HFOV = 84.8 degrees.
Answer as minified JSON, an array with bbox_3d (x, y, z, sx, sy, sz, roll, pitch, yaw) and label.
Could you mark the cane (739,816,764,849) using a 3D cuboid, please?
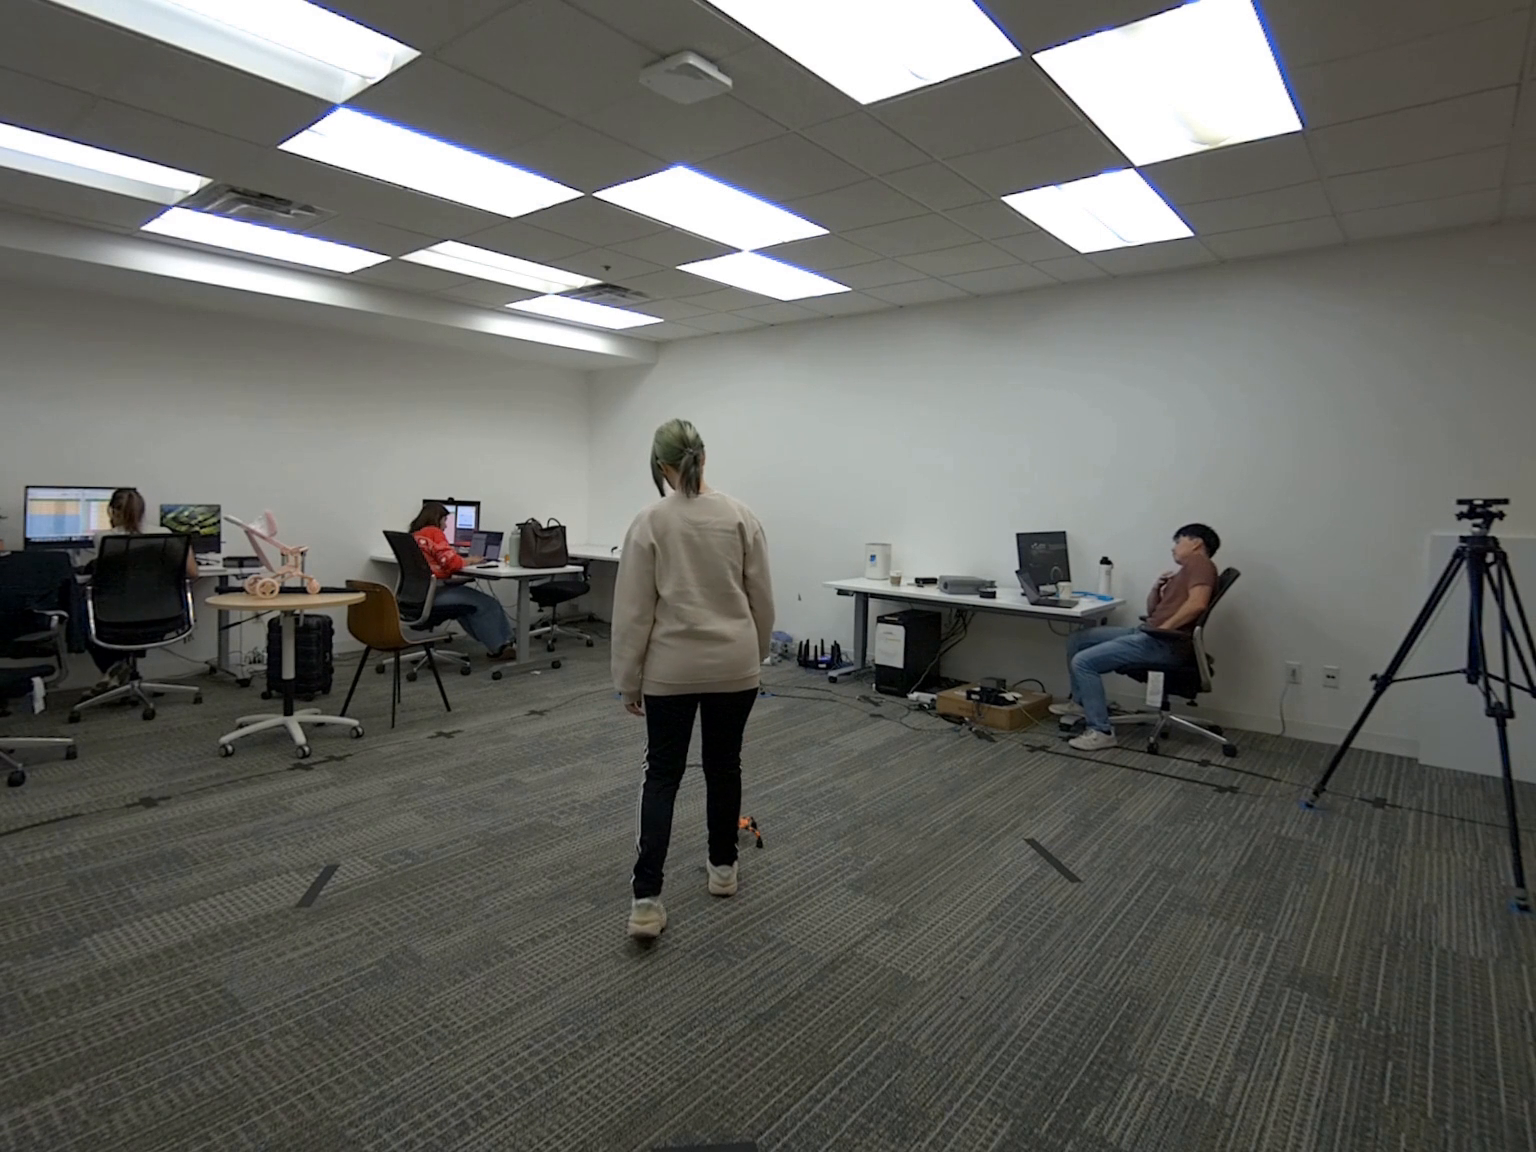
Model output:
[{"bbox_3d":[-0.110,0.587,3.378,0.150,0.906,0.208,1,2,-8],"label":"cane"}]
